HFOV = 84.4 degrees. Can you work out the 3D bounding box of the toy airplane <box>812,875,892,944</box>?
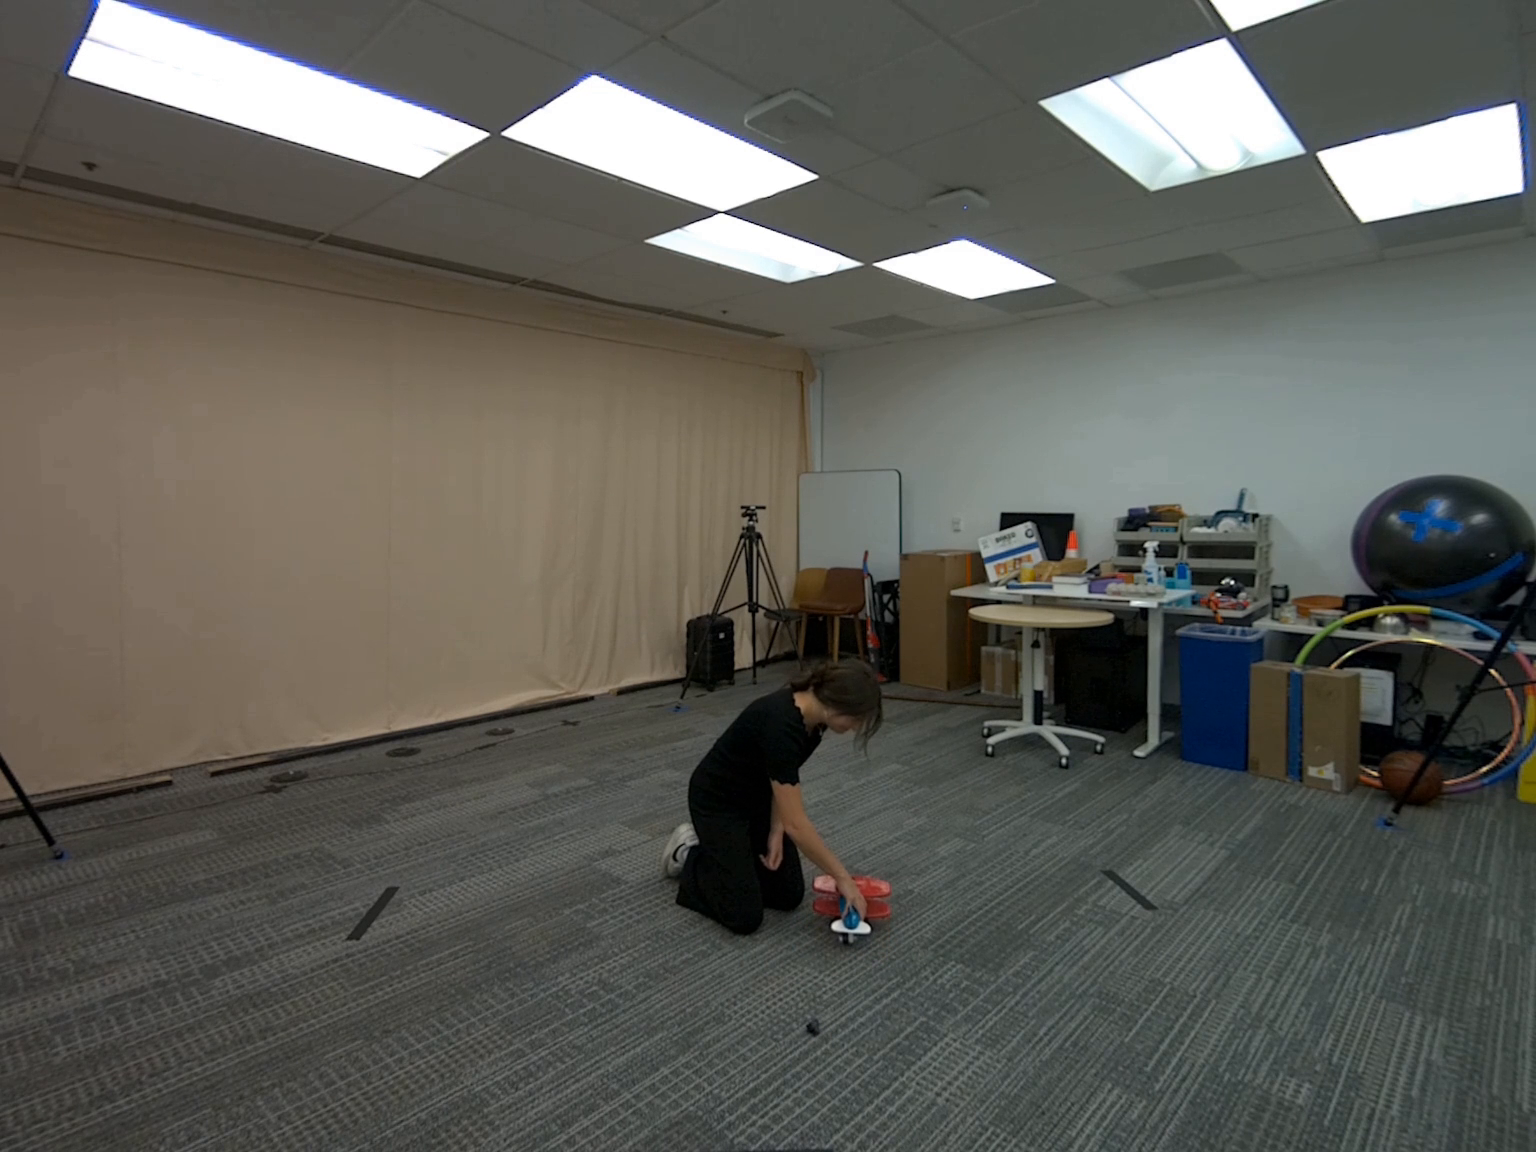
[{"bbox_3d":[0.302,1.088,2.733,0.246,0.156,0.264,0,0,-21],"label":"toy airplane"}]
